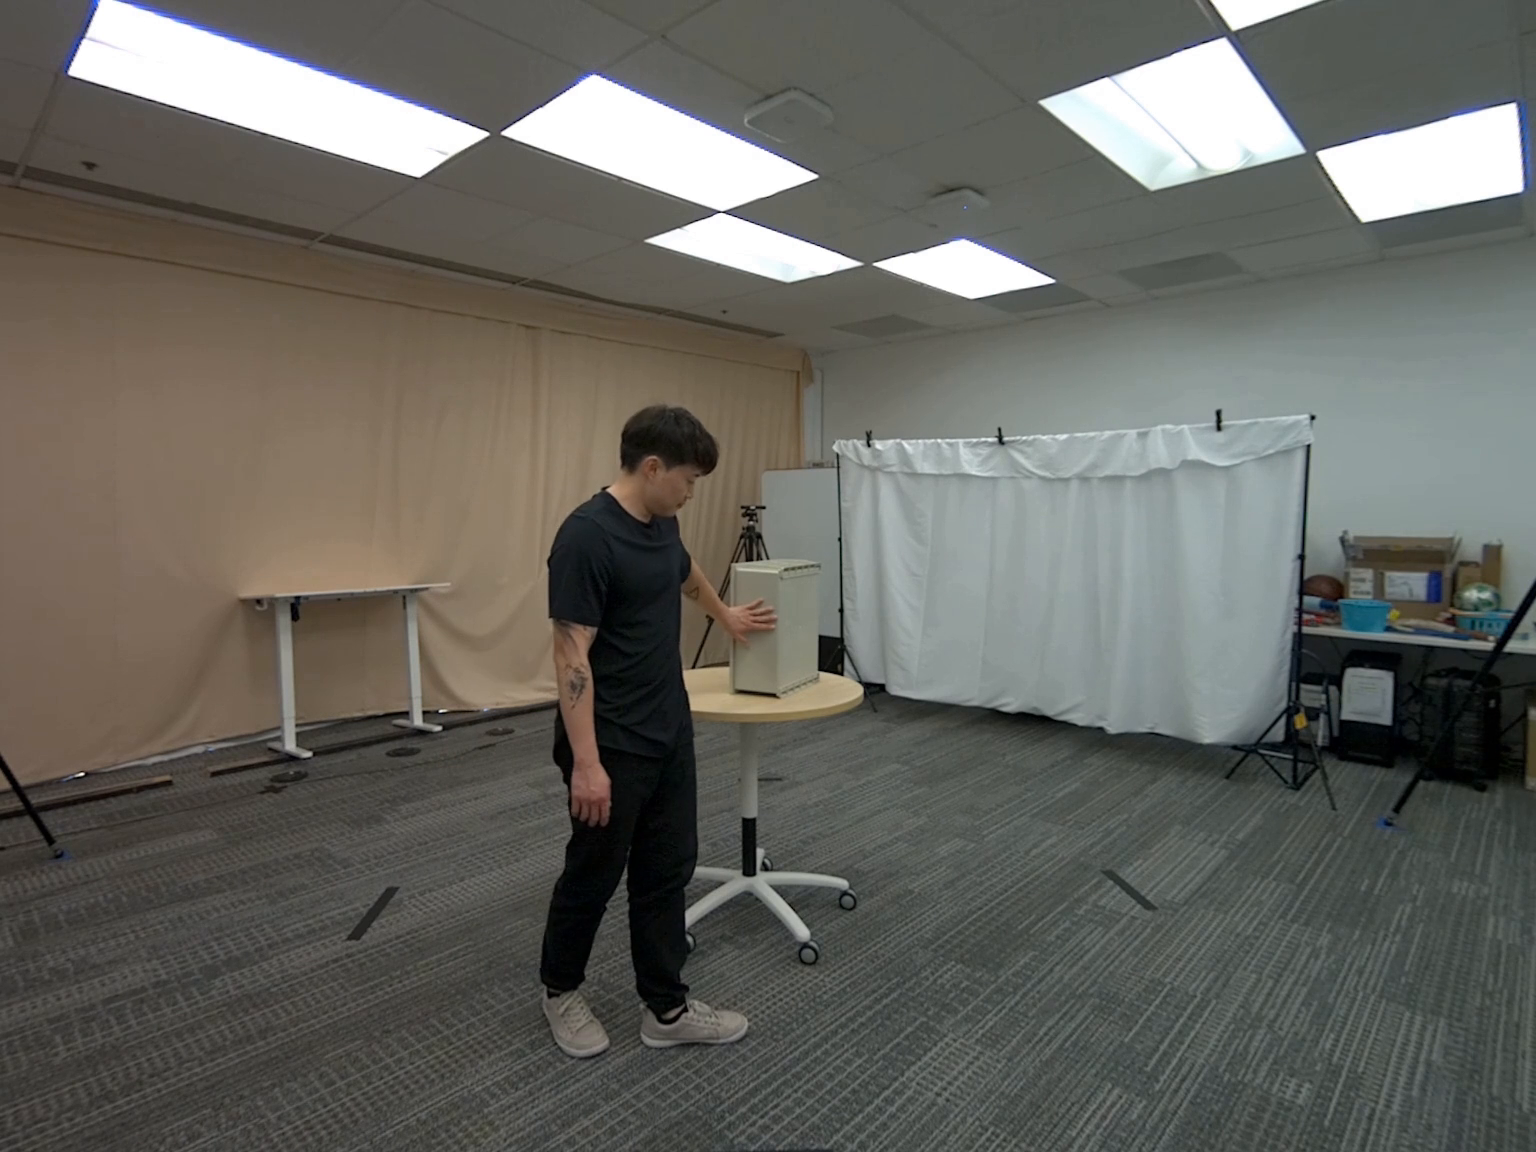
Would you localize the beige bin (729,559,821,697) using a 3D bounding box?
[{"bbox_3d":[0.046,0.165,2.821,0.194,0.421,0.368,2,3,26],"label":"beige bin"}]
